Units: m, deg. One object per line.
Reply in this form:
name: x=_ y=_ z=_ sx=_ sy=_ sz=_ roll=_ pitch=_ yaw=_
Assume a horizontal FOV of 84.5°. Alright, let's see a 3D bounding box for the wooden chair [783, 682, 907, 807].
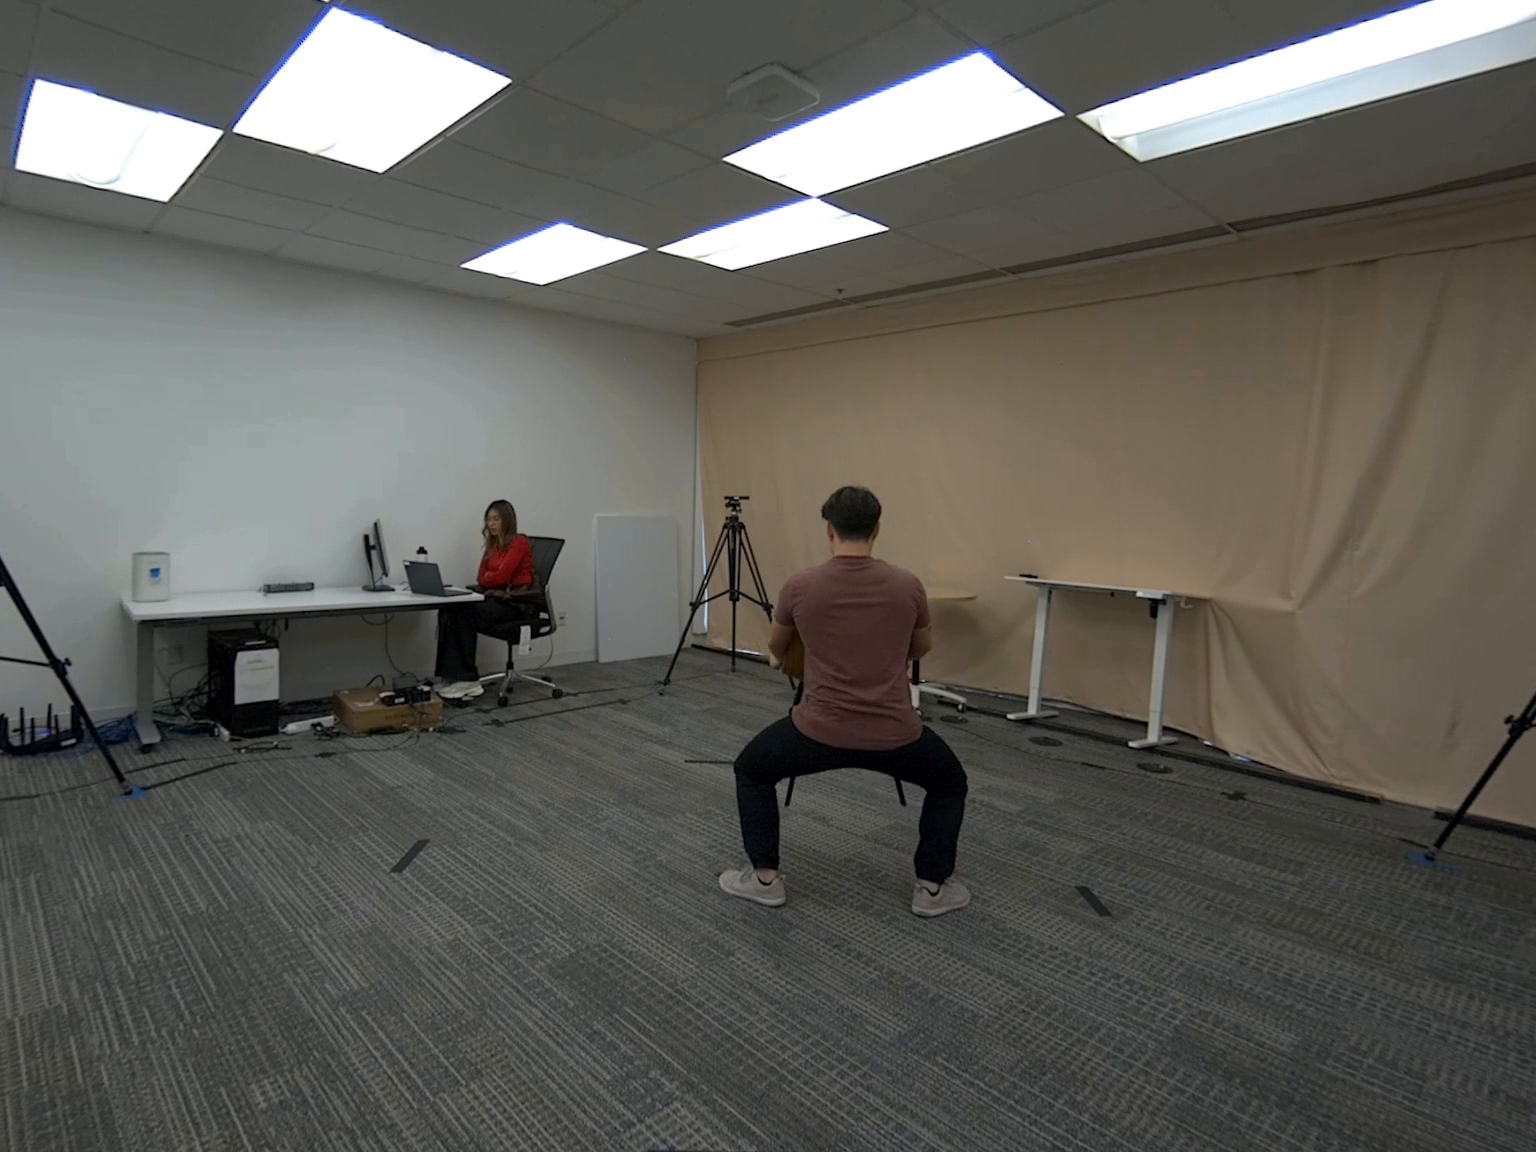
wooden chair: x=0.272 y=0.391 z=3.275 sx=0.478 sy=0.868 sz=0.529 roll=-1 pitch=15 yaw=0
